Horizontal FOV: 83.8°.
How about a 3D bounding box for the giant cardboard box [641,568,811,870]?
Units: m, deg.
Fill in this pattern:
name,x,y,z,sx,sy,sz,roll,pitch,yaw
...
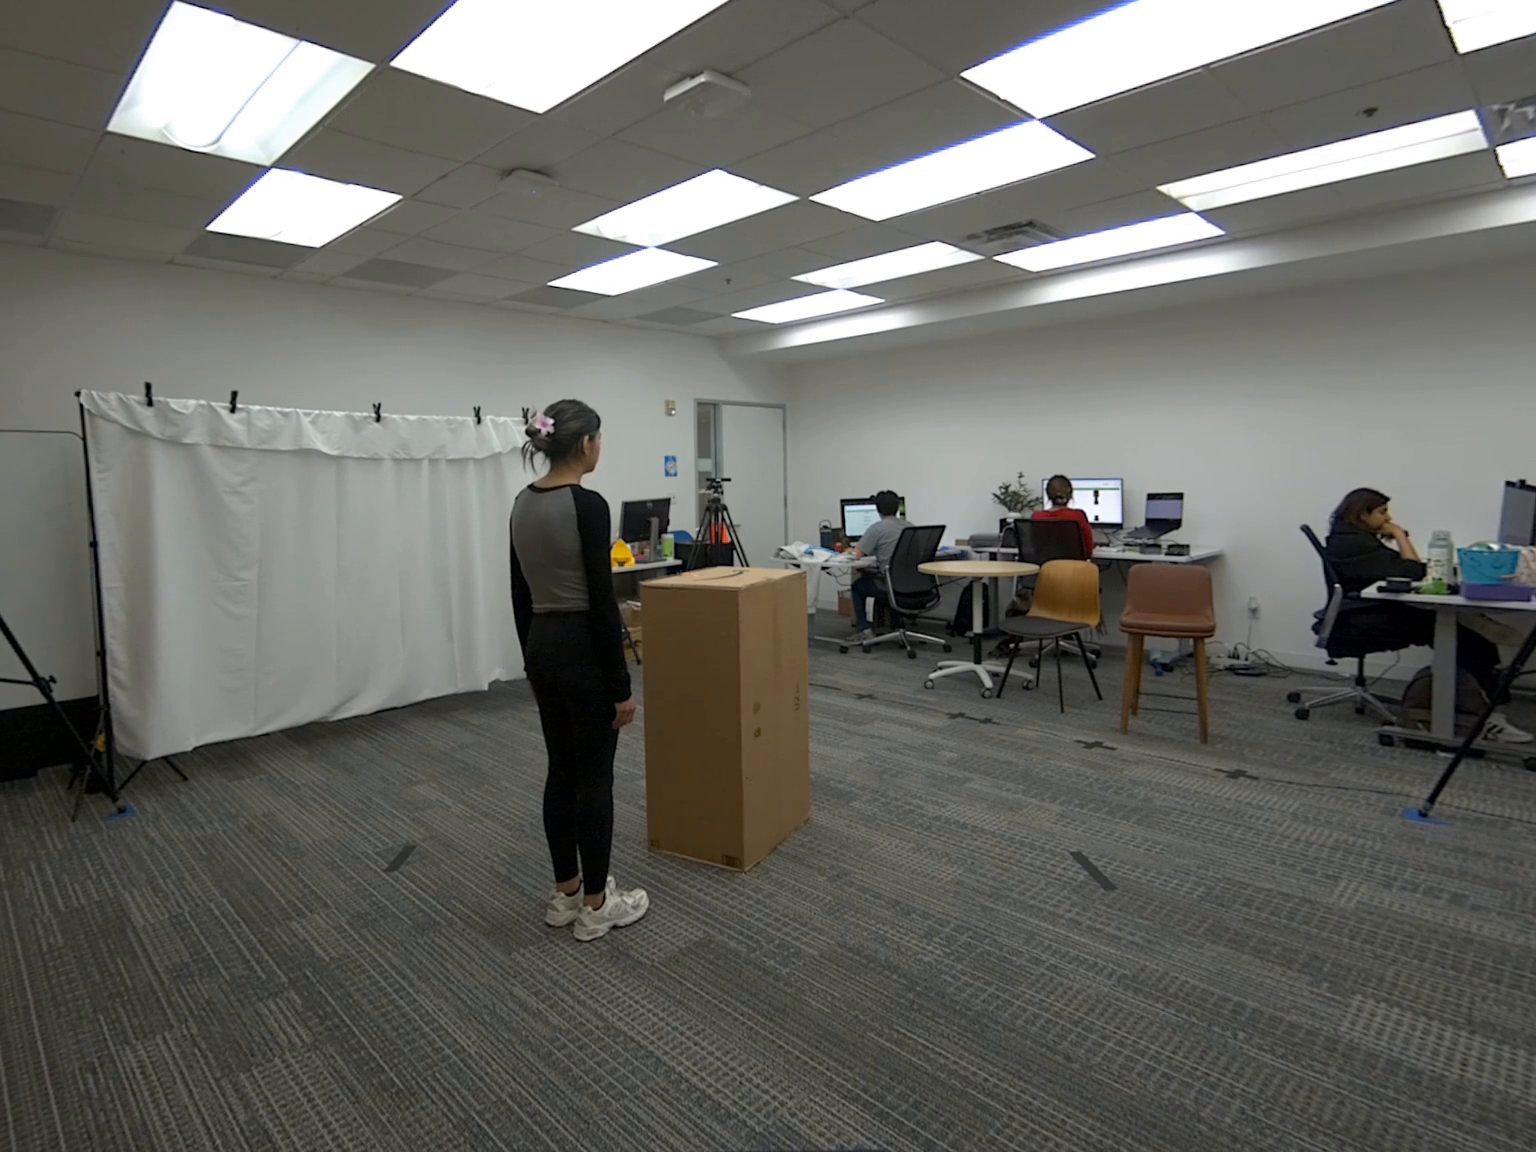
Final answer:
name,x,y,z,sx,sy,sz,roll,pitch,yaw
giant cardboard box,-0.152,0.511,3.339,0.458,1.023,0.572,2,5,28
